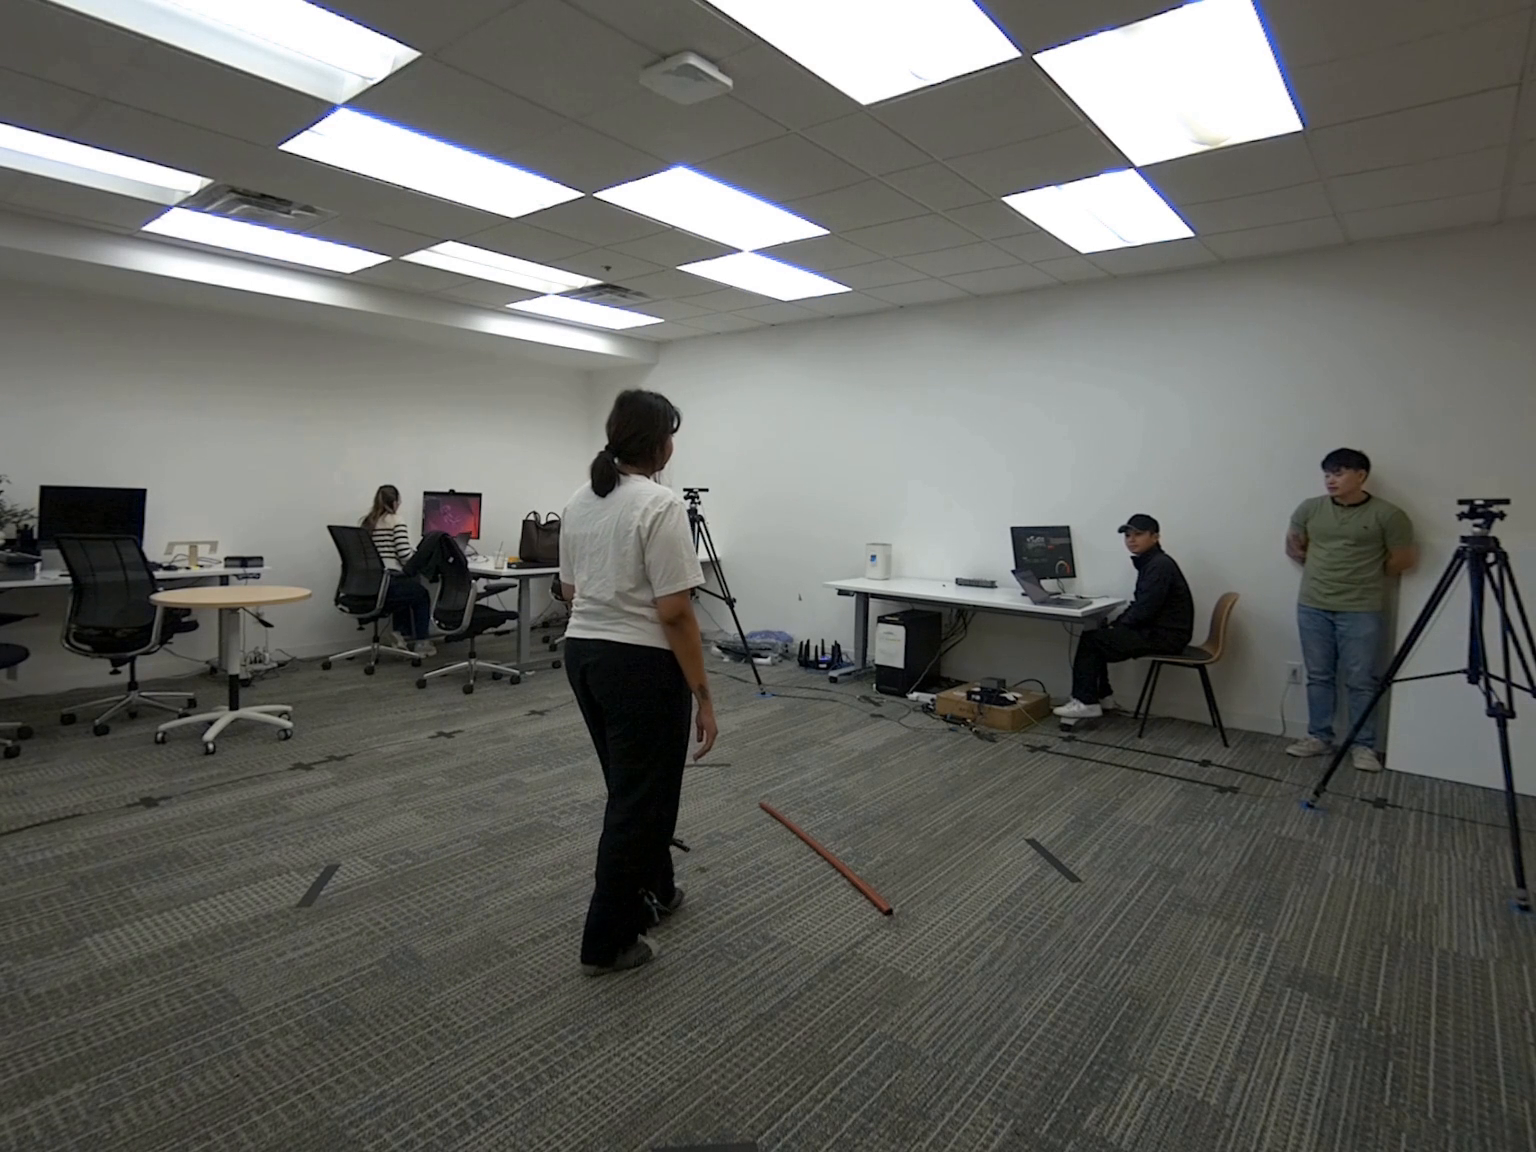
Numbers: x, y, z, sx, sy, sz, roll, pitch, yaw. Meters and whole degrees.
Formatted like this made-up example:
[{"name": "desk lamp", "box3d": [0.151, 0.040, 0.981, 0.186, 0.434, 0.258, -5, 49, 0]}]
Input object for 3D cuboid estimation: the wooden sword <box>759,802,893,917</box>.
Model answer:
[{"name": "wooden sword", "box3d": [0.176, 1.042, 3.271, 0.050, 0.024, 1.051, -5, 8, -23]}]
